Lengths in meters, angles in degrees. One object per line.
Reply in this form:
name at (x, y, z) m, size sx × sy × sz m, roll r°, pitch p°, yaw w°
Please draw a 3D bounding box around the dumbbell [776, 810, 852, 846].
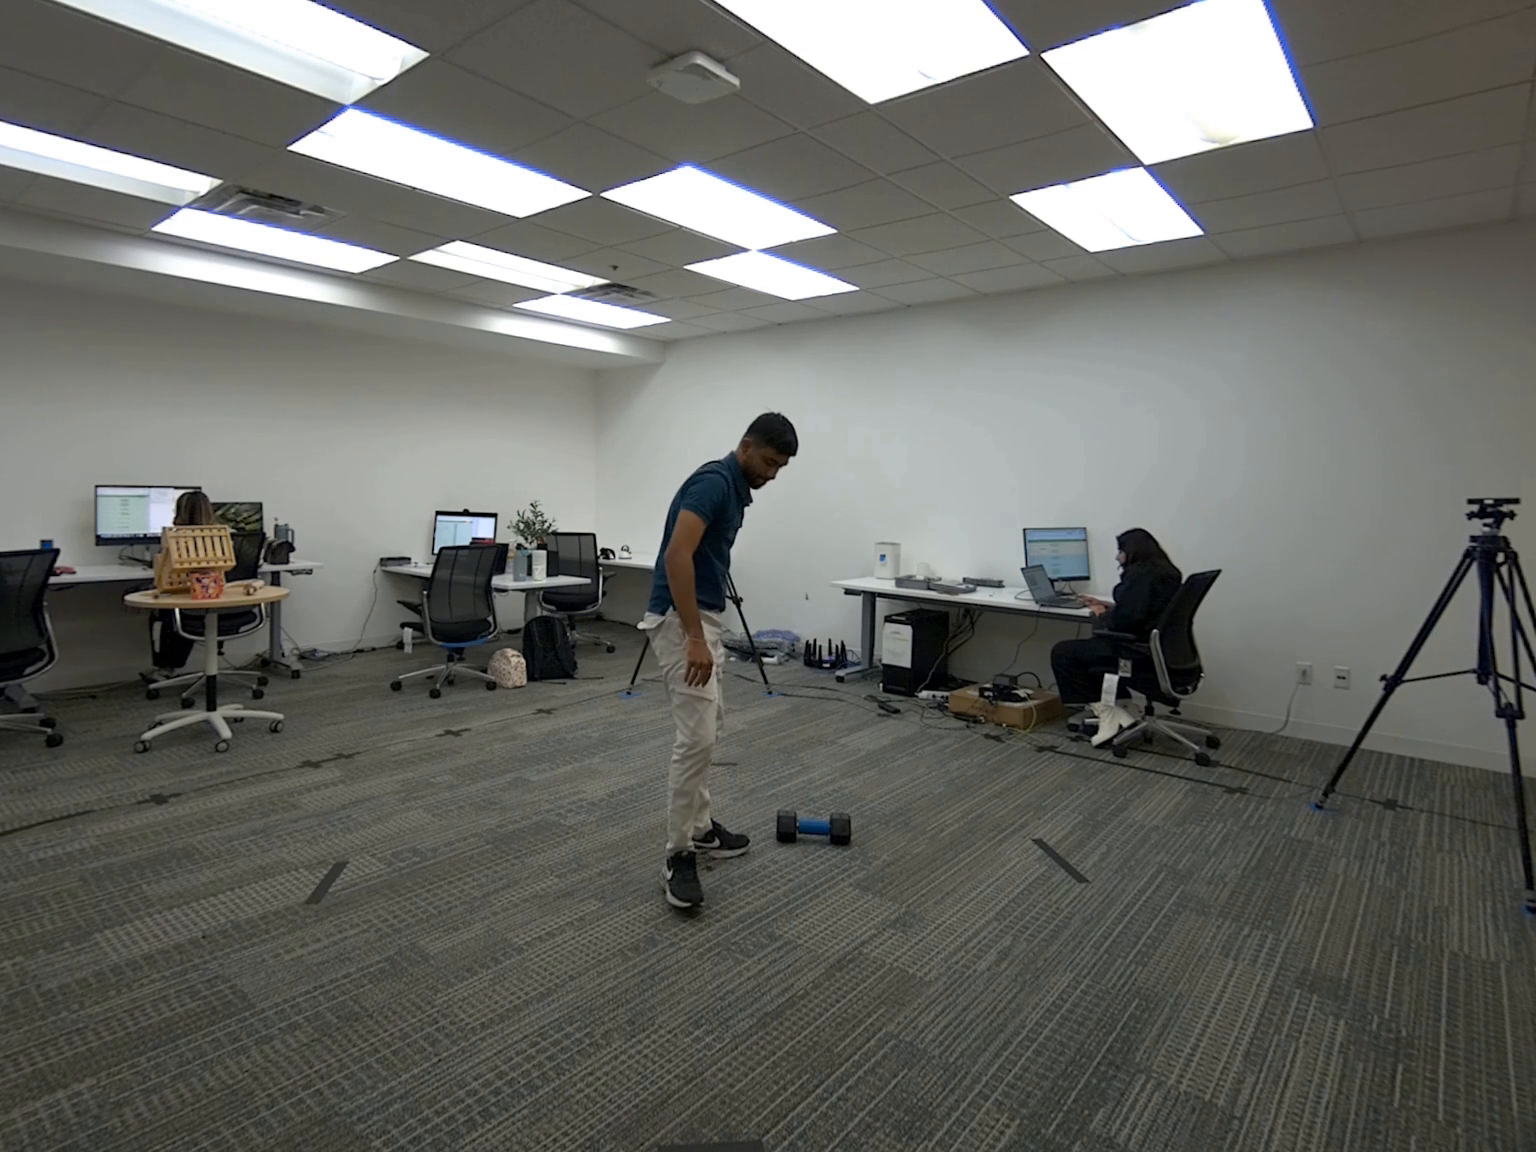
dumbbell at (0.176, 0.993, 3.383) m, size 0.295 × 0.108 × 0.123 m, roll 1°, pitch 4°, yaw 4°
